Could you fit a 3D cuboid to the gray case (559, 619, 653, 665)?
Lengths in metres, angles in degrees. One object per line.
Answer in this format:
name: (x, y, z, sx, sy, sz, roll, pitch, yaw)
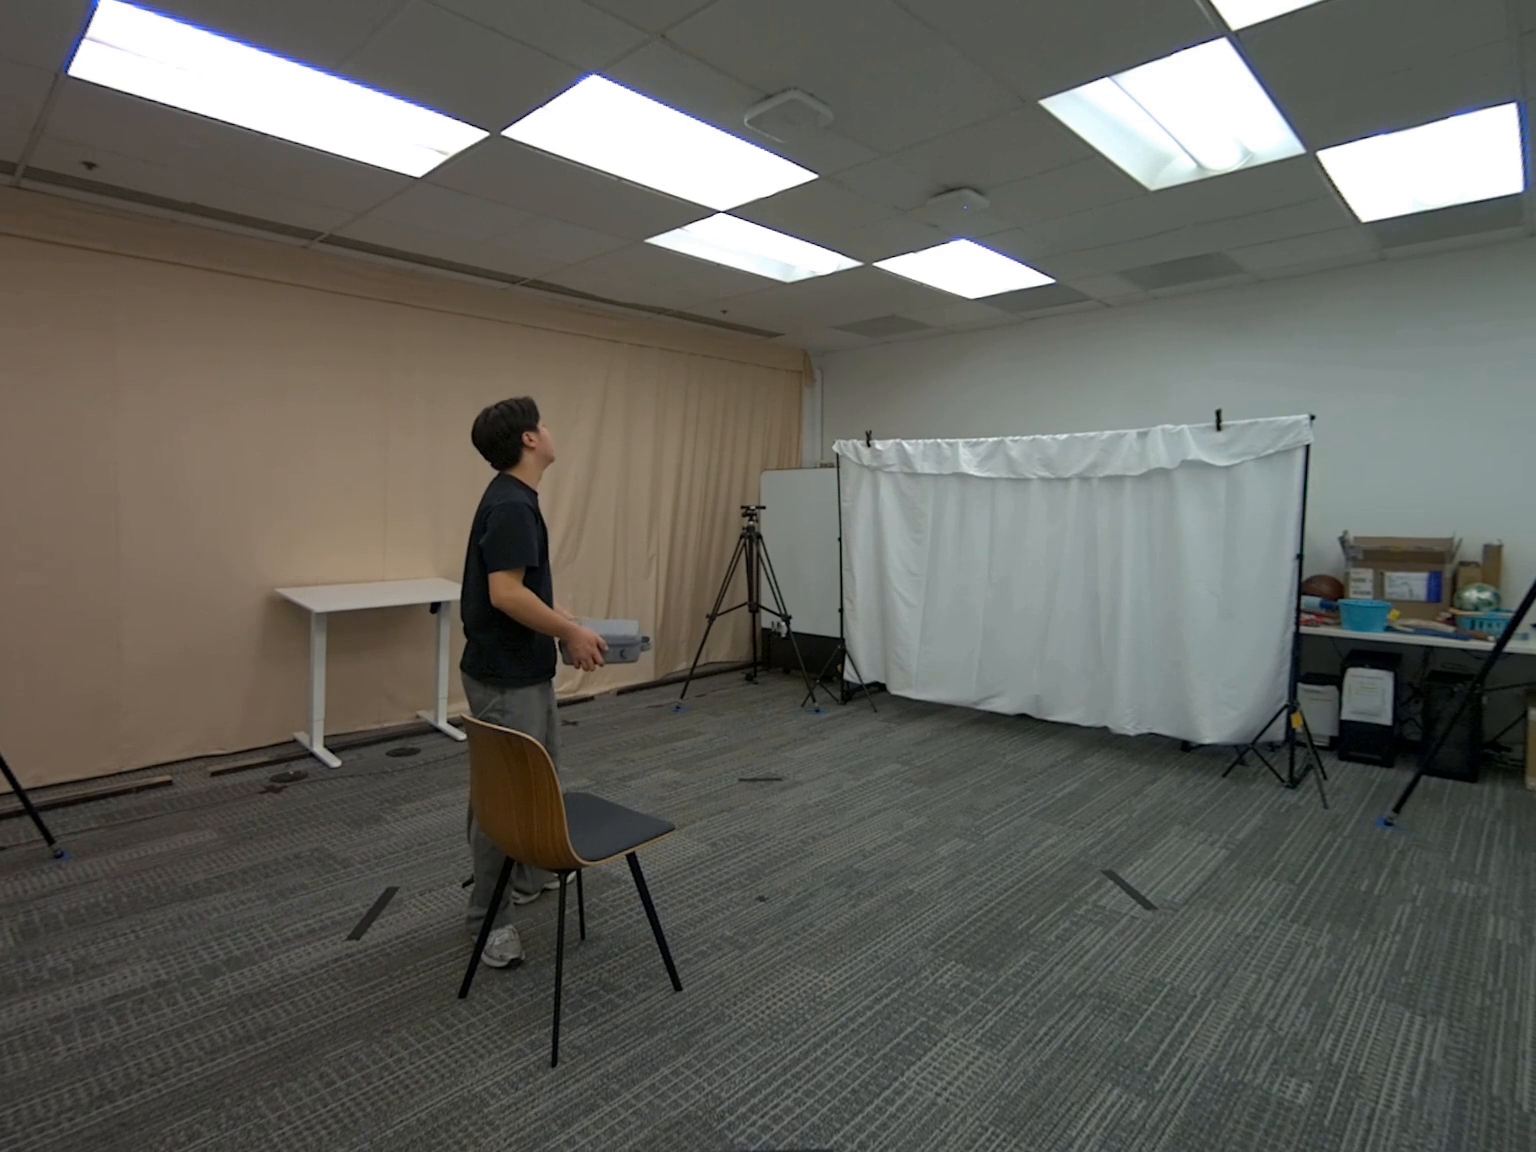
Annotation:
gray case: (-0.540, 0.219, 2.769, 0.284, 0.102, 0.267, -1, 7, -9)
